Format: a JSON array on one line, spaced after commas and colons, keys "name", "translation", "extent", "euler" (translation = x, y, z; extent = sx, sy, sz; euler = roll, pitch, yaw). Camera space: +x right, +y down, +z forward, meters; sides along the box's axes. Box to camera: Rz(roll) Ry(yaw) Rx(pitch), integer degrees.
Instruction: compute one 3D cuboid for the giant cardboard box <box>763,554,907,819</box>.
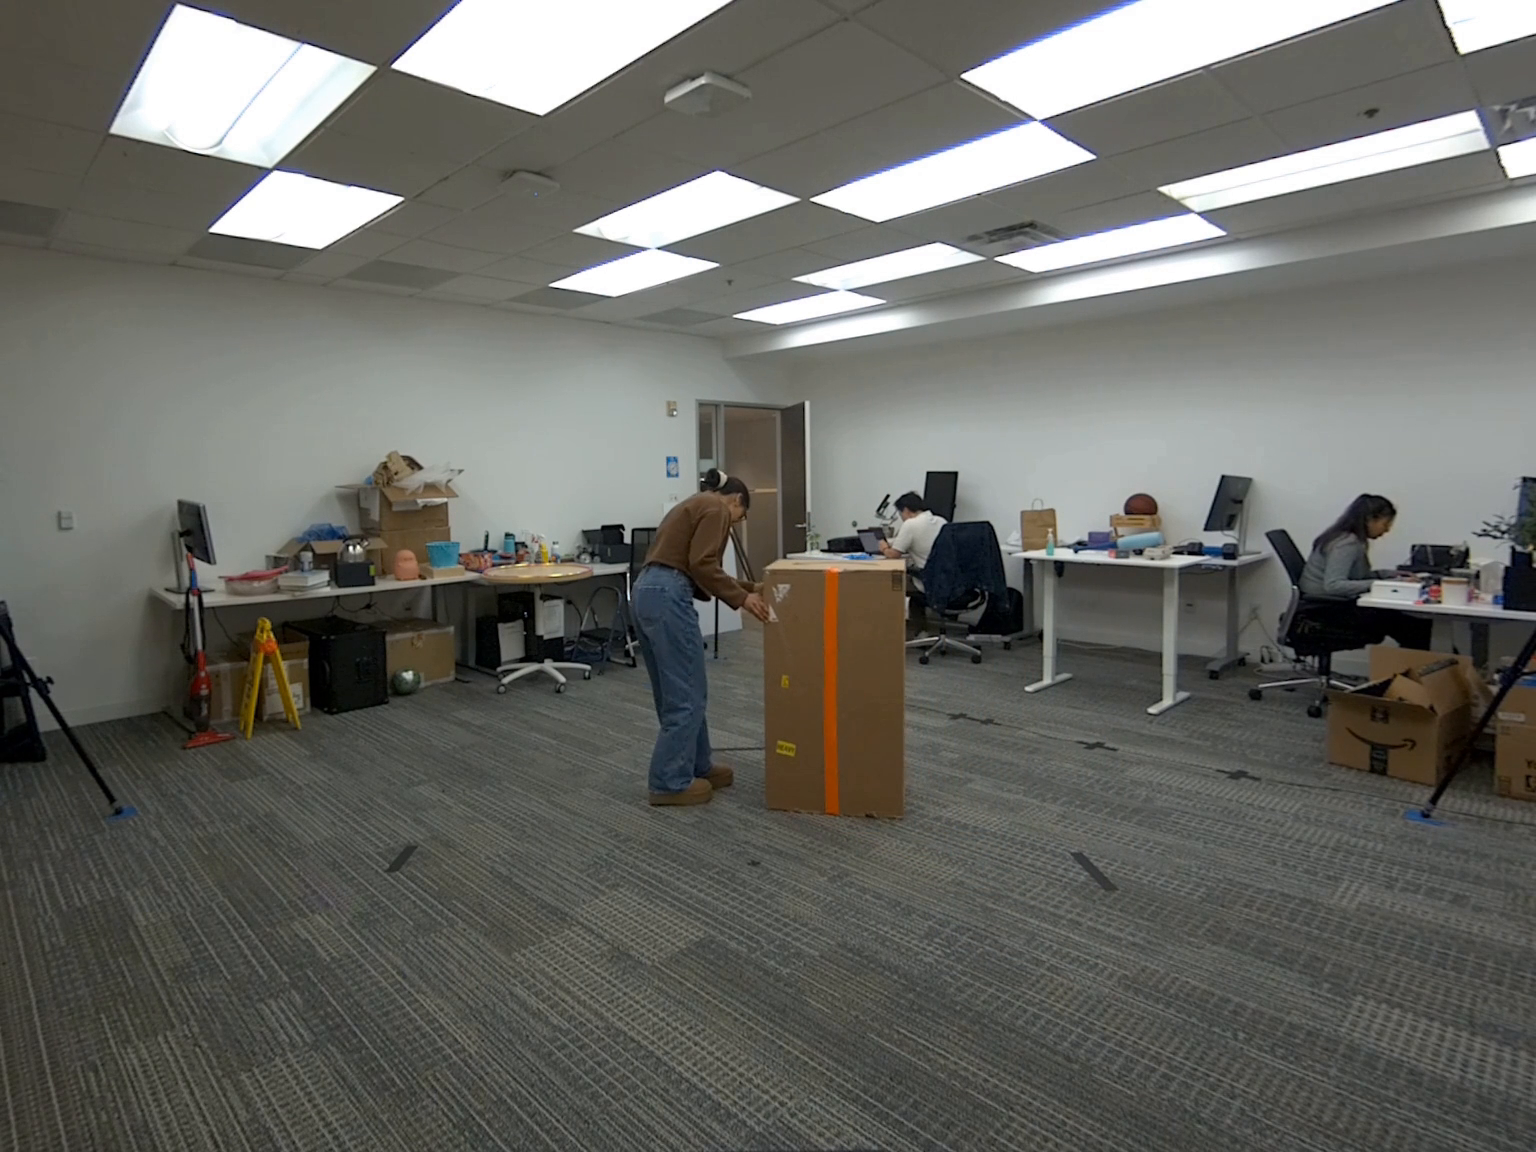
[{"name": "giant cardboard box", "translation": [0.302, 0.457, 3.710], "extent": [0.585, 1.021, 0.422], "euler": [0, 5, 13]}]
